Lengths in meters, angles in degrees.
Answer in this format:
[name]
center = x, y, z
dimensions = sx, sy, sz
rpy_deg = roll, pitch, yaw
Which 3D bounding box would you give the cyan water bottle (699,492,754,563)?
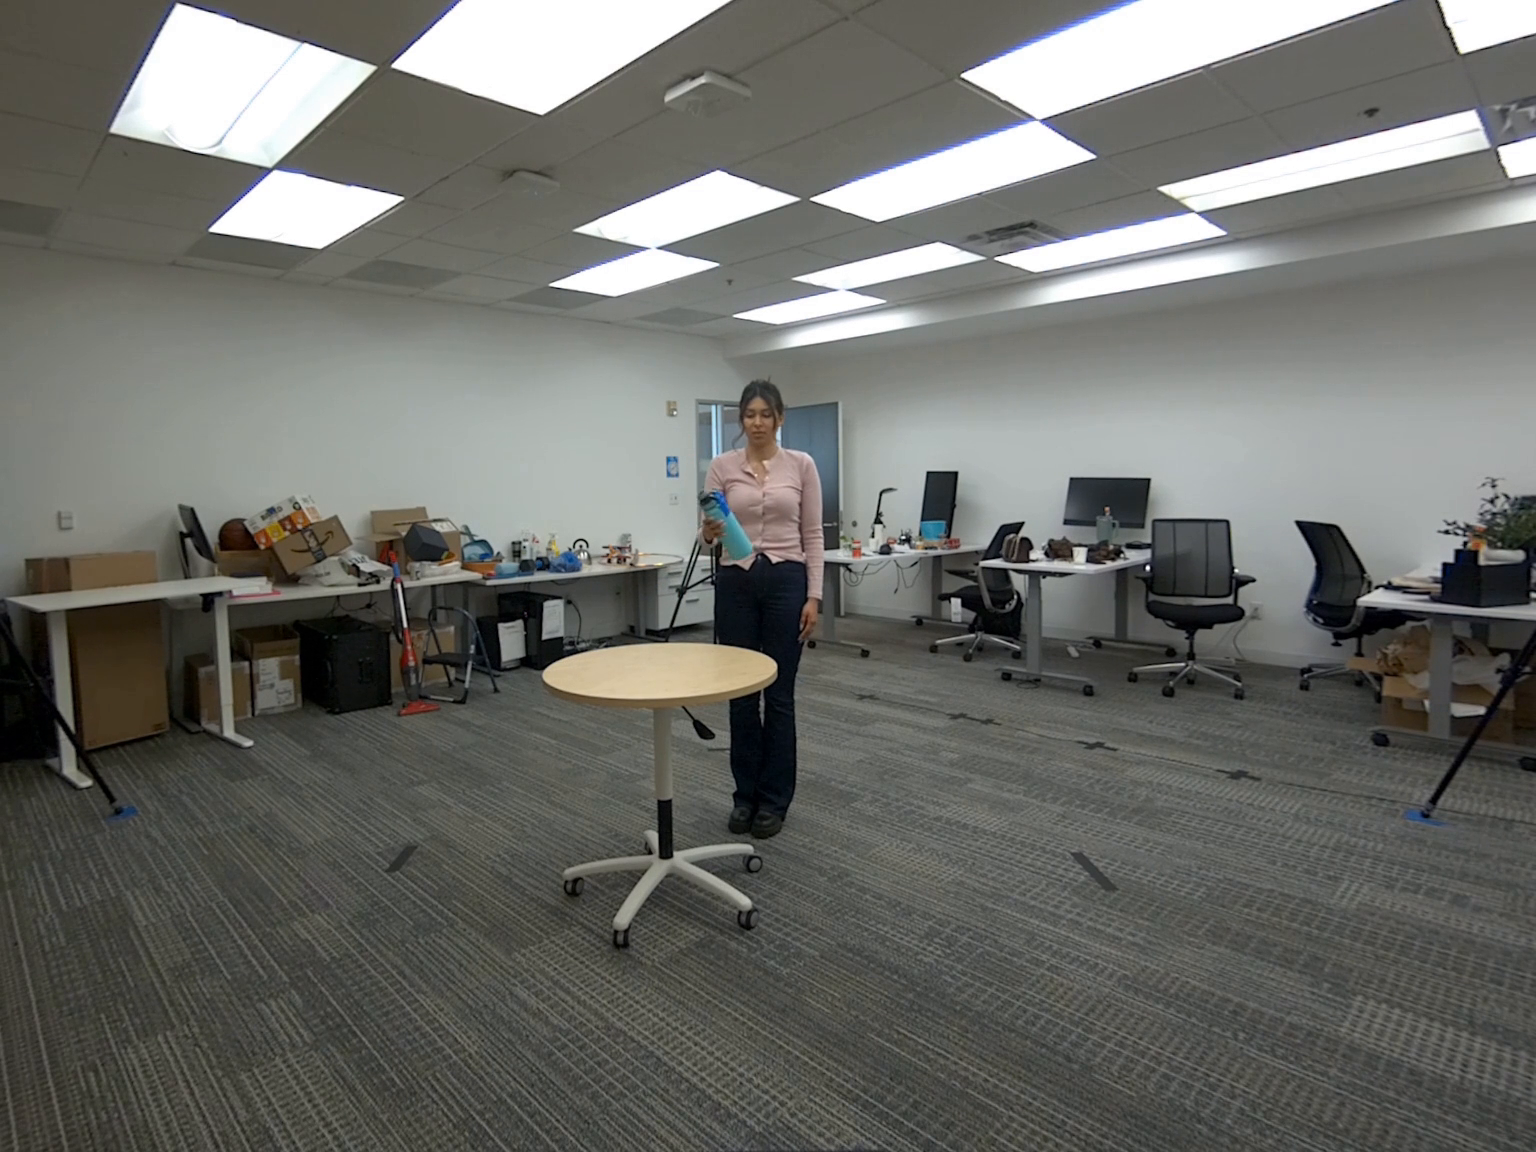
[cyan water bottle]
center = -0.161, -0.185, 3.057
dimensions = 0.093, 0.275, 0.094
rpy_deg = -24, 27, 12
